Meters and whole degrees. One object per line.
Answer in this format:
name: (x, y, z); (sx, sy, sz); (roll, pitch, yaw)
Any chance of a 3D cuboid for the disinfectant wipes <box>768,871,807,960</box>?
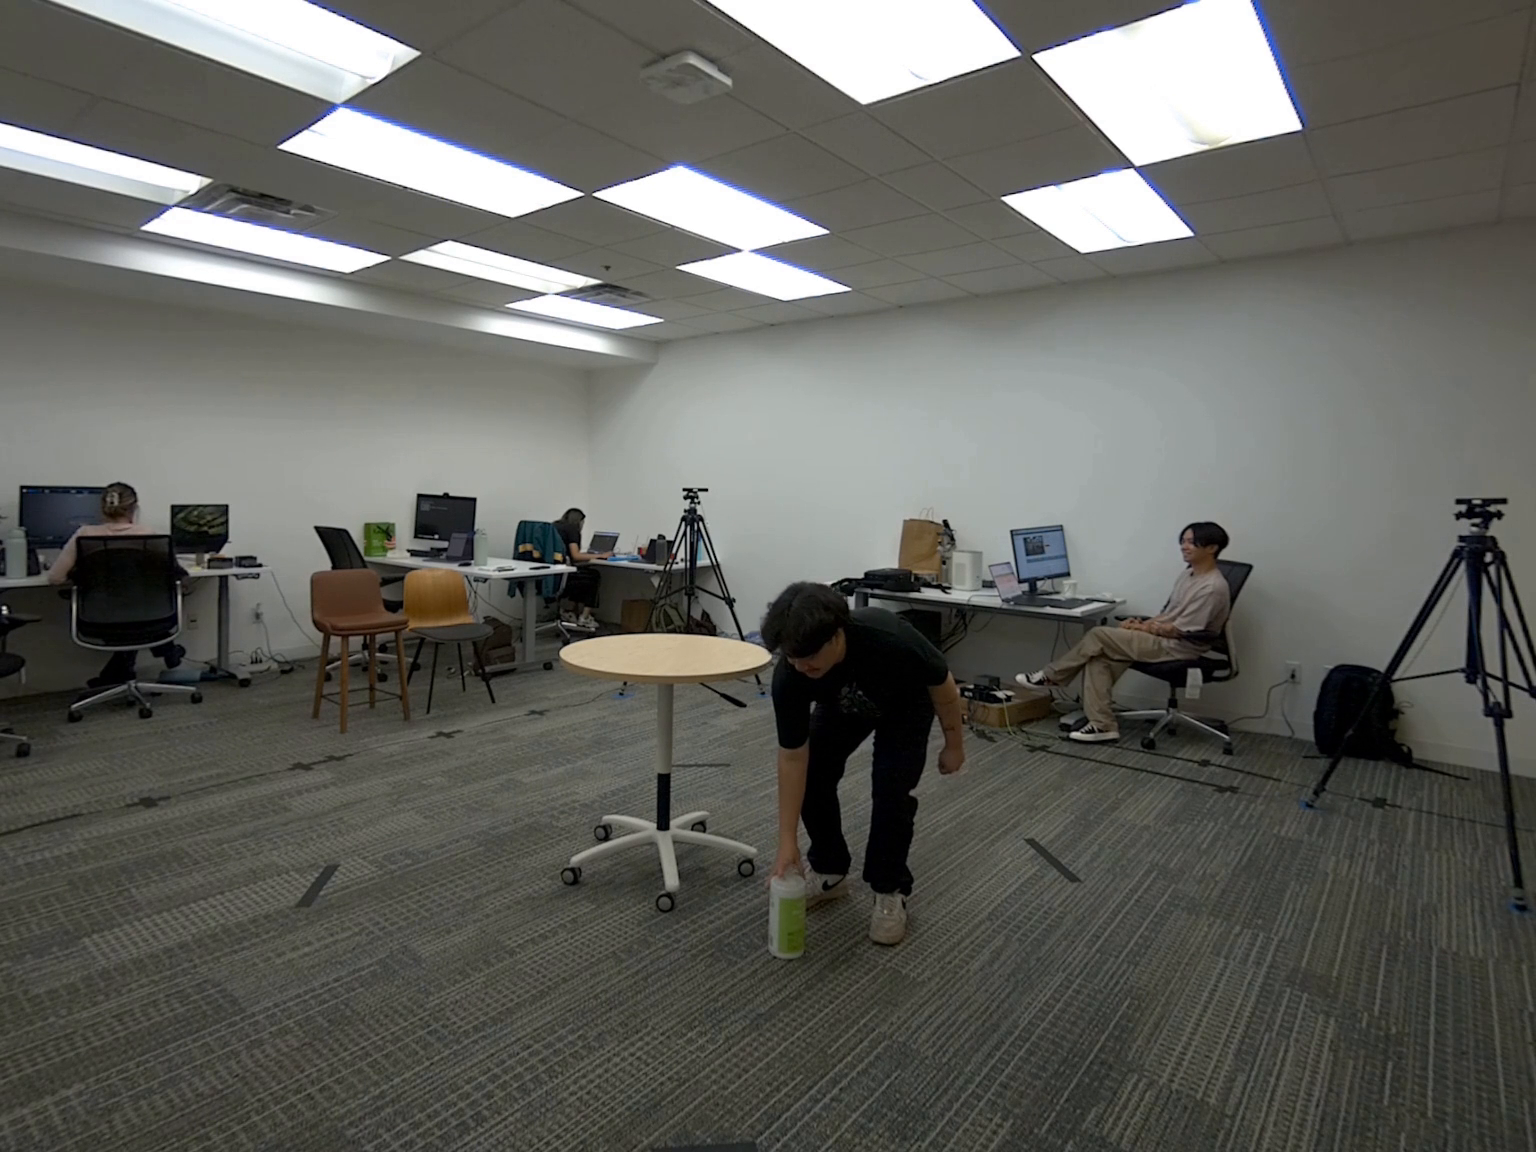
disinfectant wipes: (0.047, 1.029, 2.553); (0.118, 0.217, 0.118); (1, 2, -2)
